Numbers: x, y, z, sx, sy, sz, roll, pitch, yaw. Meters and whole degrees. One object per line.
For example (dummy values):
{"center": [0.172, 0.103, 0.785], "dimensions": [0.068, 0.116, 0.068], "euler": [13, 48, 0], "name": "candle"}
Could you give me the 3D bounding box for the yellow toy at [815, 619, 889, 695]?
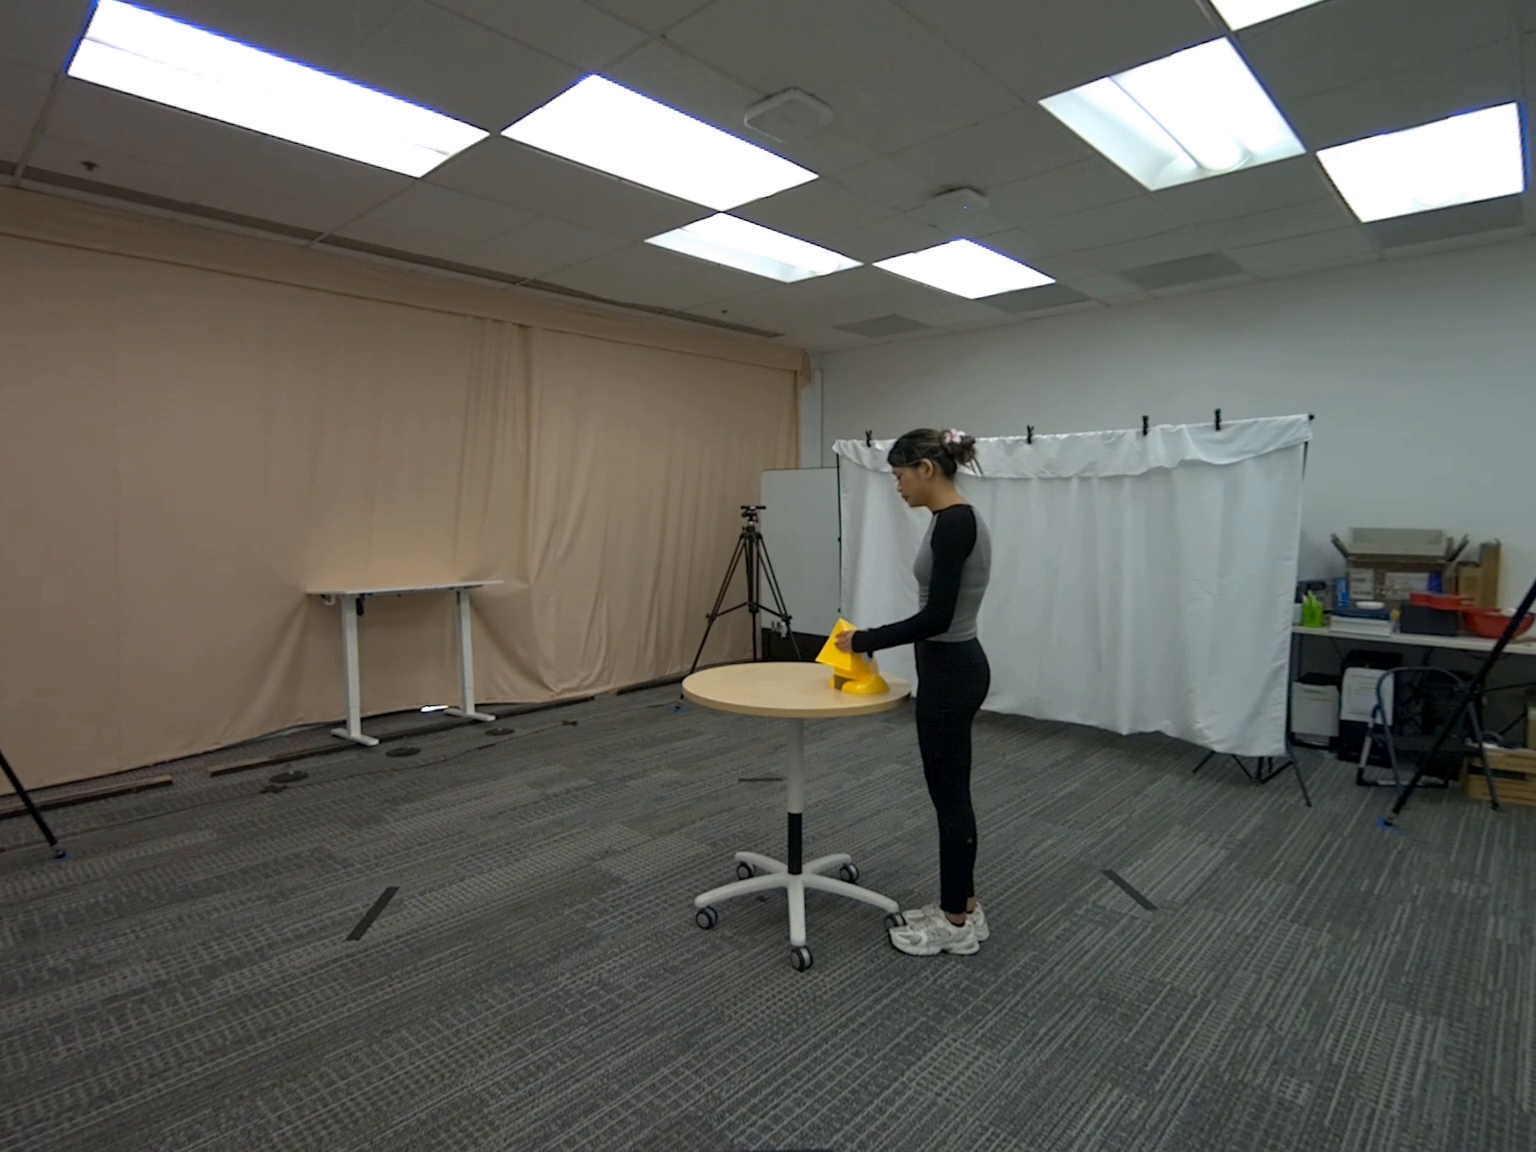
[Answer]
{"center": [0.299, 0.256, 2.766], "dimensions": [0.188, 0.230, 0.210], "euler": [-1, 4, -27], "name": "yellow toy"}
